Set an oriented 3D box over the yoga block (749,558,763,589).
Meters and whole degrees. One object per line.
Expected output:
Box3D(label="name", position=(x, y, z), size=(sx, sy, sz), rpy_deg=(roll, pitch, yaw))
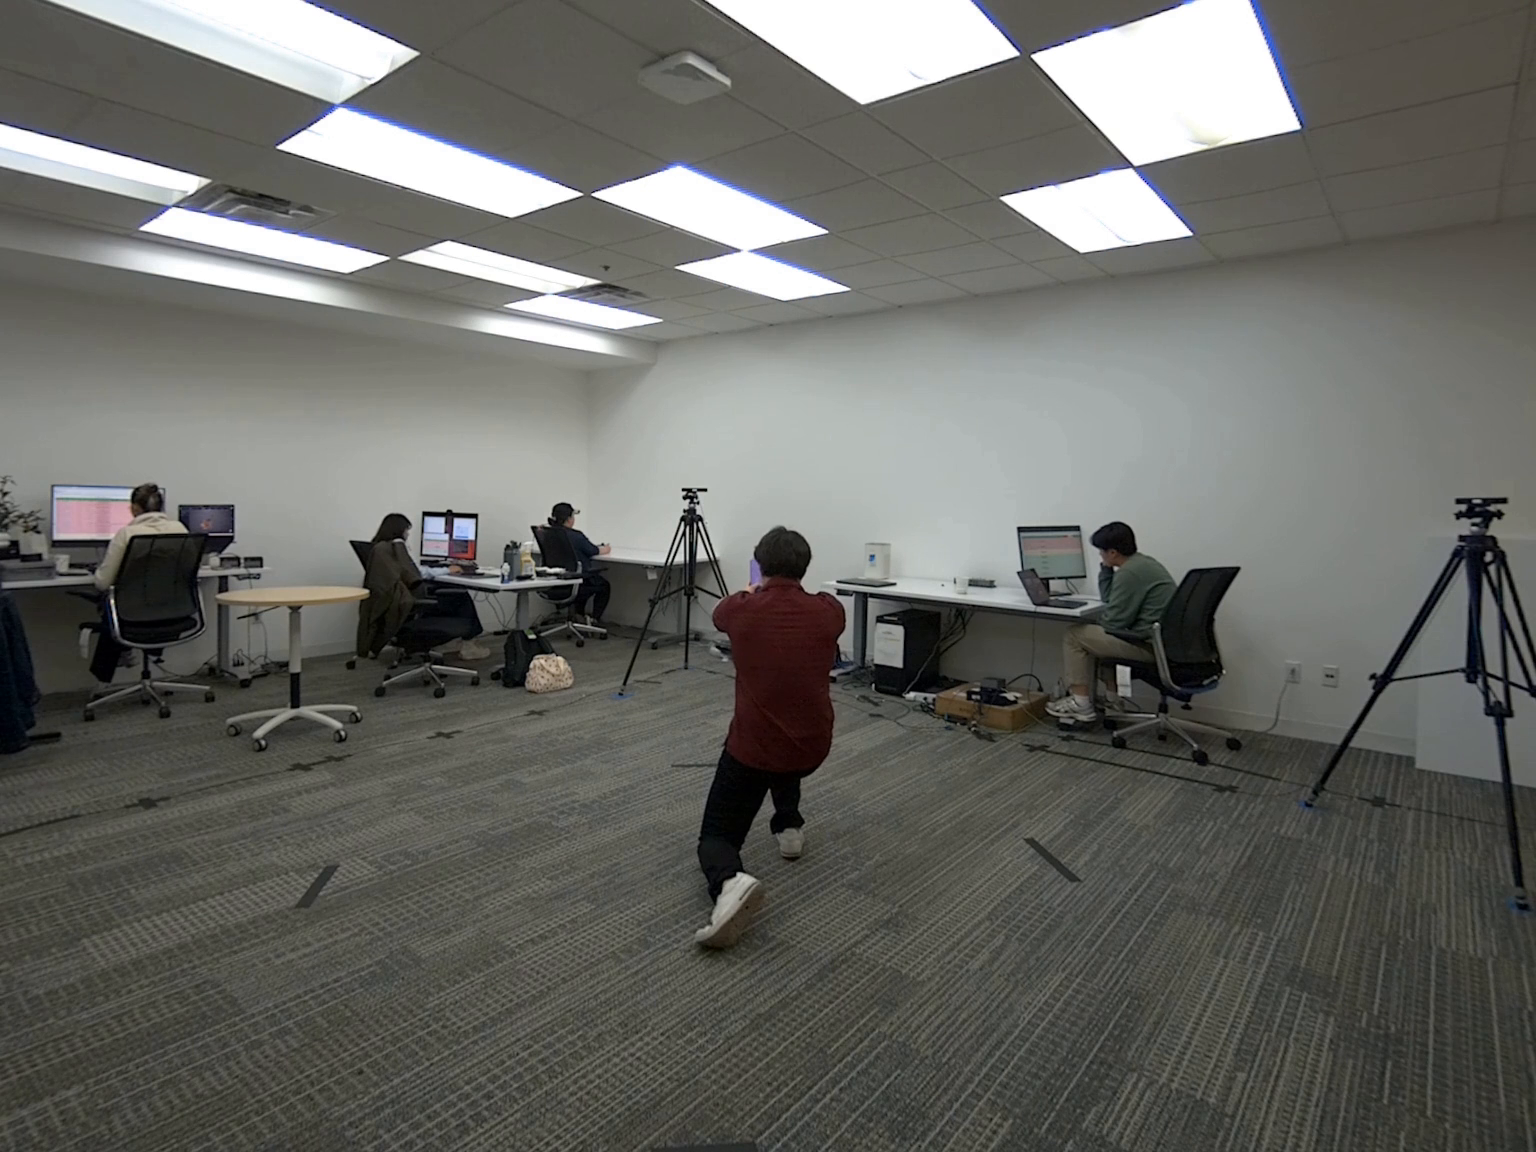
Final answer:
Box3D(label="yoga block", position=(-0.005, -0.007, 3.747), size=(0.150, 0.074, 0.235), rpy_deg=(0, 36, 4))
